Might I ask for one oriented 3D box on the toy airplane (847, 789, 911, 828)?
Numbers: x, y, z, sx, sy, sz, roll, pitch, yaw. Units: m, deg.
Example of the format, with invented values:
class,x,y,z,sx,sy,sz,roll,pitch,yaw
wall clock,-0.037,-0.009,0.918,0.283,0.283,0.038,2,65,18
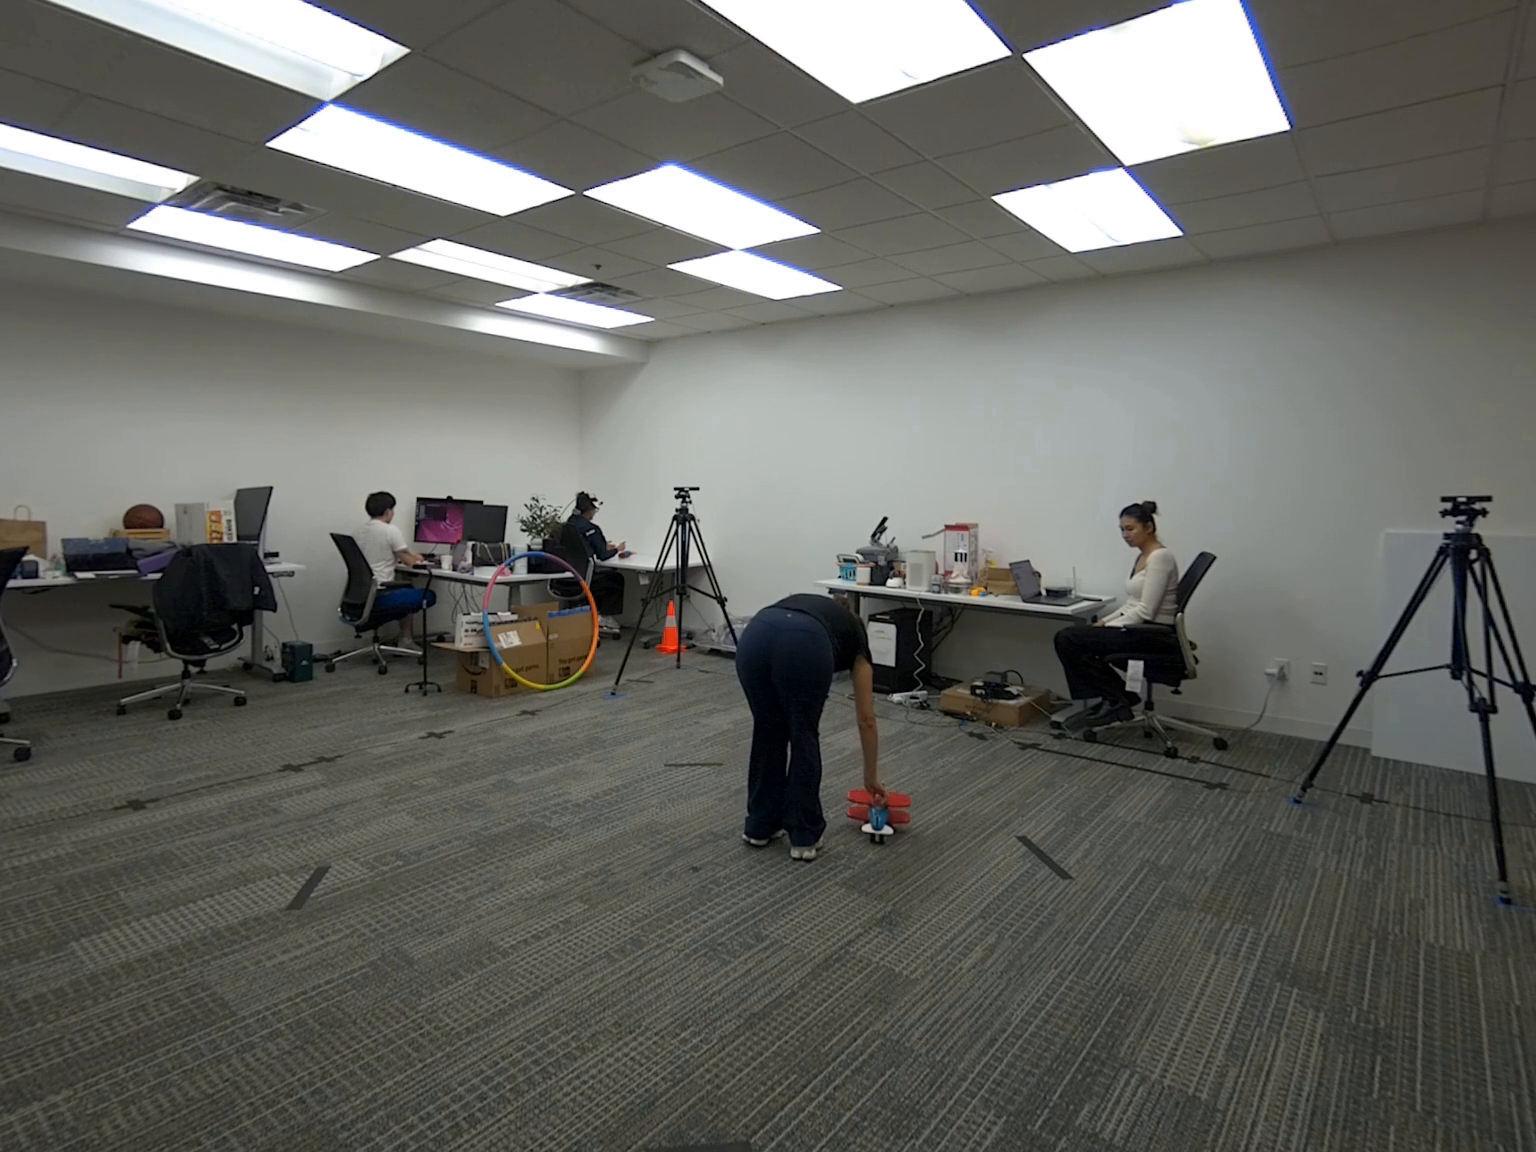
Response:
class,x,y,z,sx,sy,sz,roll,pitch,yaw
toy airplane,0.486,0.968,3.461,0.247,0.156,0.265,1,4,-18
